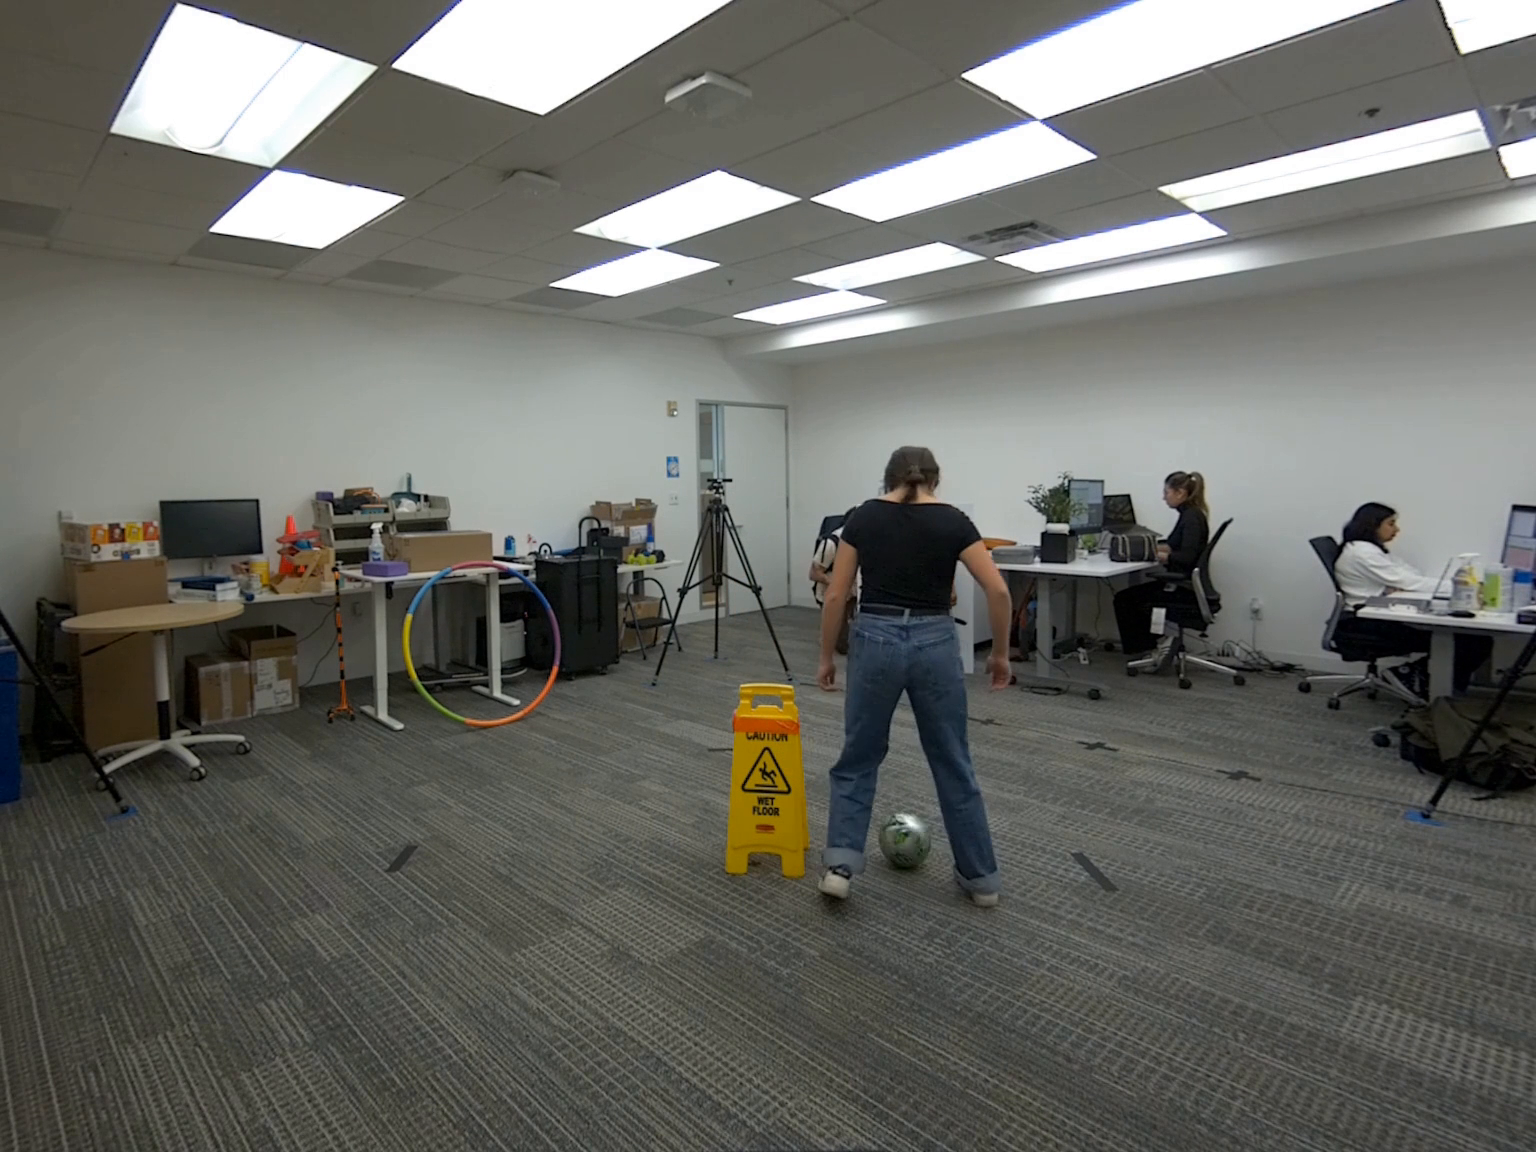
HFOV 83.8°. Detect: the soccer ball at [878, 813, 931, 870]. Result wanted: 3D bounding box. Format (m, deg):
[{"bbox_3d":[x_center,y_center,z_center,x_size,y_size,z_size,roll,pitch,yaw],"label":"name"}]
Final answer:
[{"bbox_3d":[0.500,0.946,3.071,0.187,0.187,0.188,-1,5,-2],"label":"soccer ball"}]
